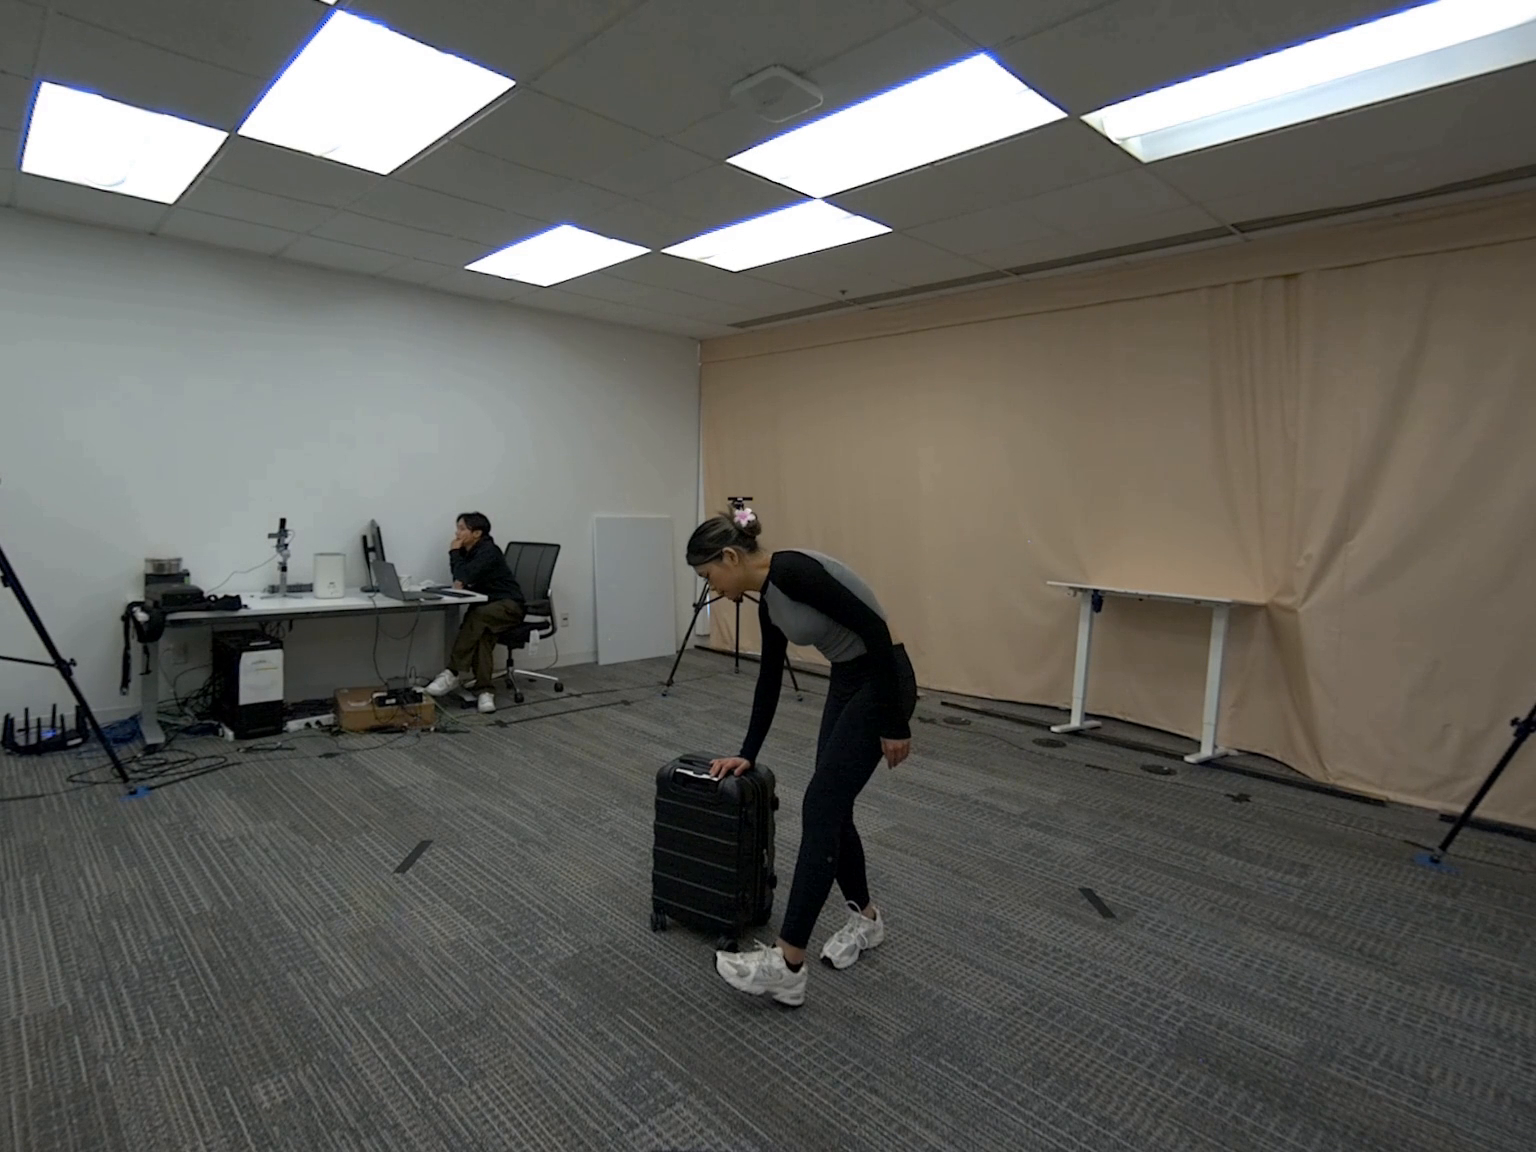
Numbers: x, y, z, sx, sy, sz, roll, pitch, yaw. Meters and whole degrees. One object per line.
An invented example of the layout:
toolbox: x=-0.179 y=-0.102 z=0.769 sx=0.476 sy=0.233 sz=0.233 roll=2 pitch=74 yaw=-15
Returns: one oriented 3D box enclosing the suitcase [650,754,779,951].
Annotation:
suitcase: x=-0.183 y=0.867 z=2.732 sx=0.384 sy=0.548 sz=0.243 roll=3 pitch=3 yaw=33
